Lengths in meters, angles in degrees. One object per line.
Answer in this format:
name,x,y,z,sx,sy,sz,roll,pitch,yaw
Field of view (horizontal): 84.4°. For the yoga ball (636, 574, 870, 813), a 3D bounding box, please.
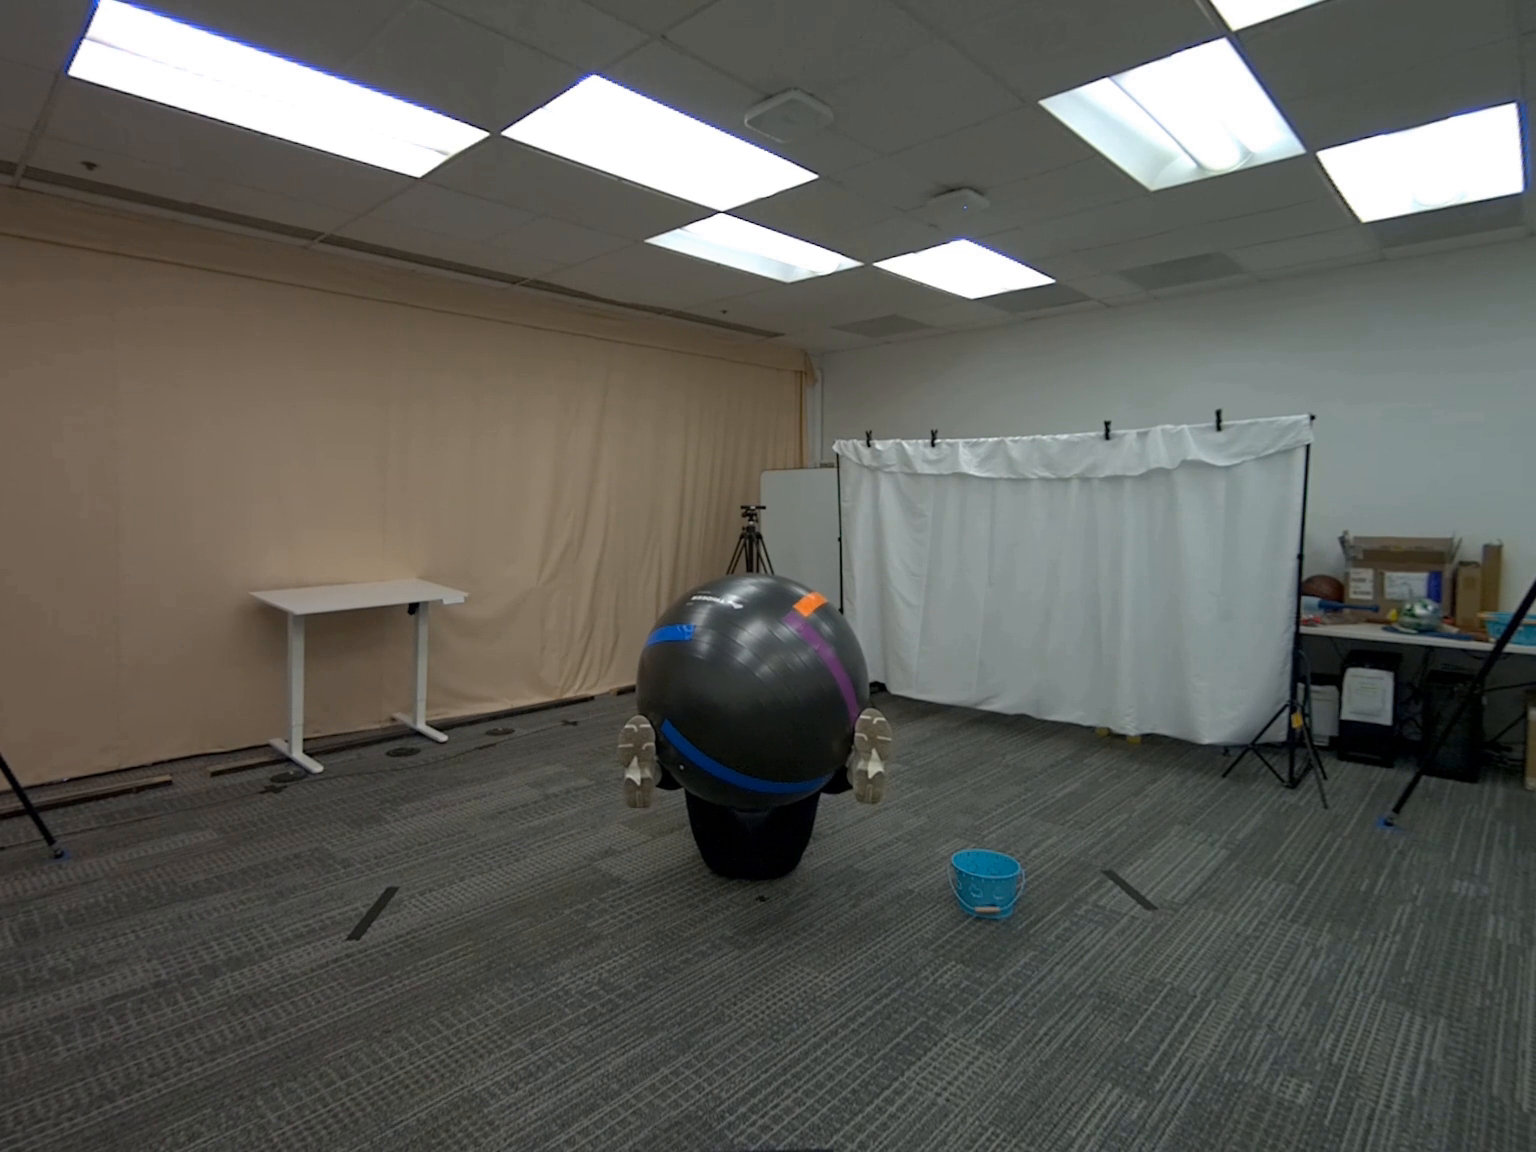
yoga ball,-0.056,0.371,2.744,0.757,0.756,0.760,0,4,-2
